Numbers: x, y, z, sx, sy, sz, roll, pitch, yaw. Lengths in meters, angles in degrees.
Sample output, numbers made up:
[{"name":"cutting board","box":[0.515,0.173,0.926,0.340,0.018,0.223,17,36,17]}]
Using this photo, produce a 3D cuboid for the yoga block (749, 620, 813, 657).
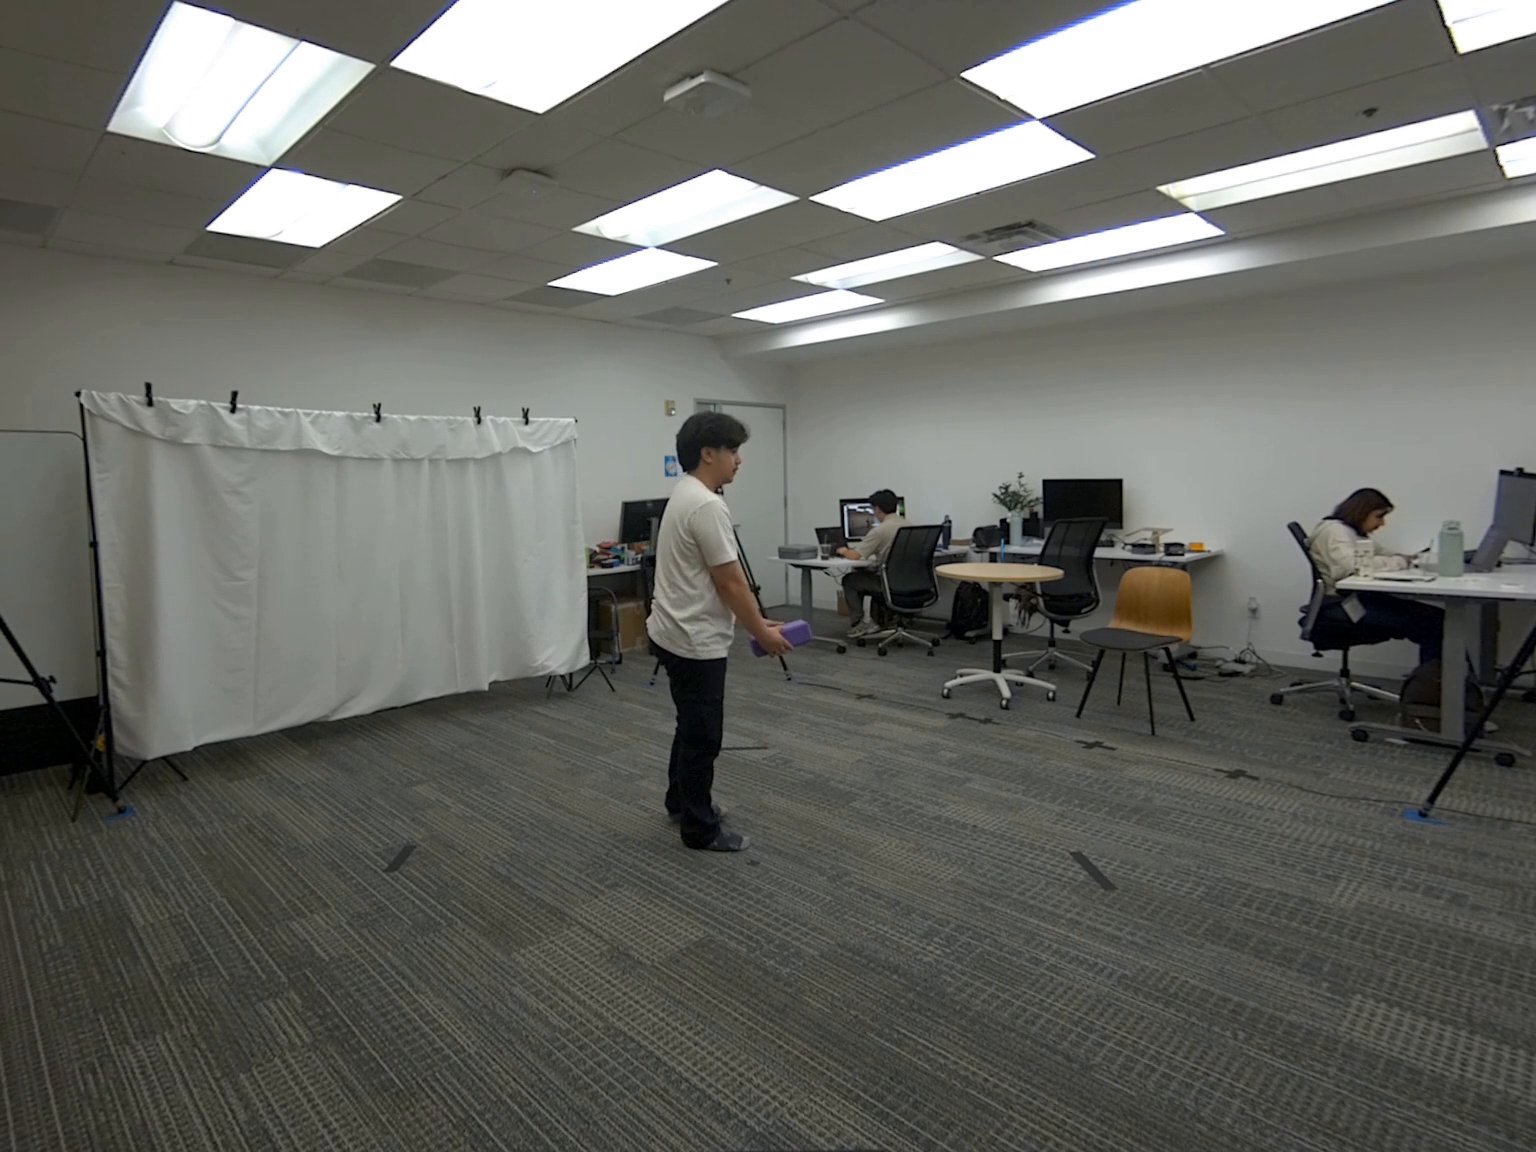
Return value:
[{"name":"yoga block","box":[0.028,0.239,3.324,0.230,0.076,0.149,-15,6,2]}]
